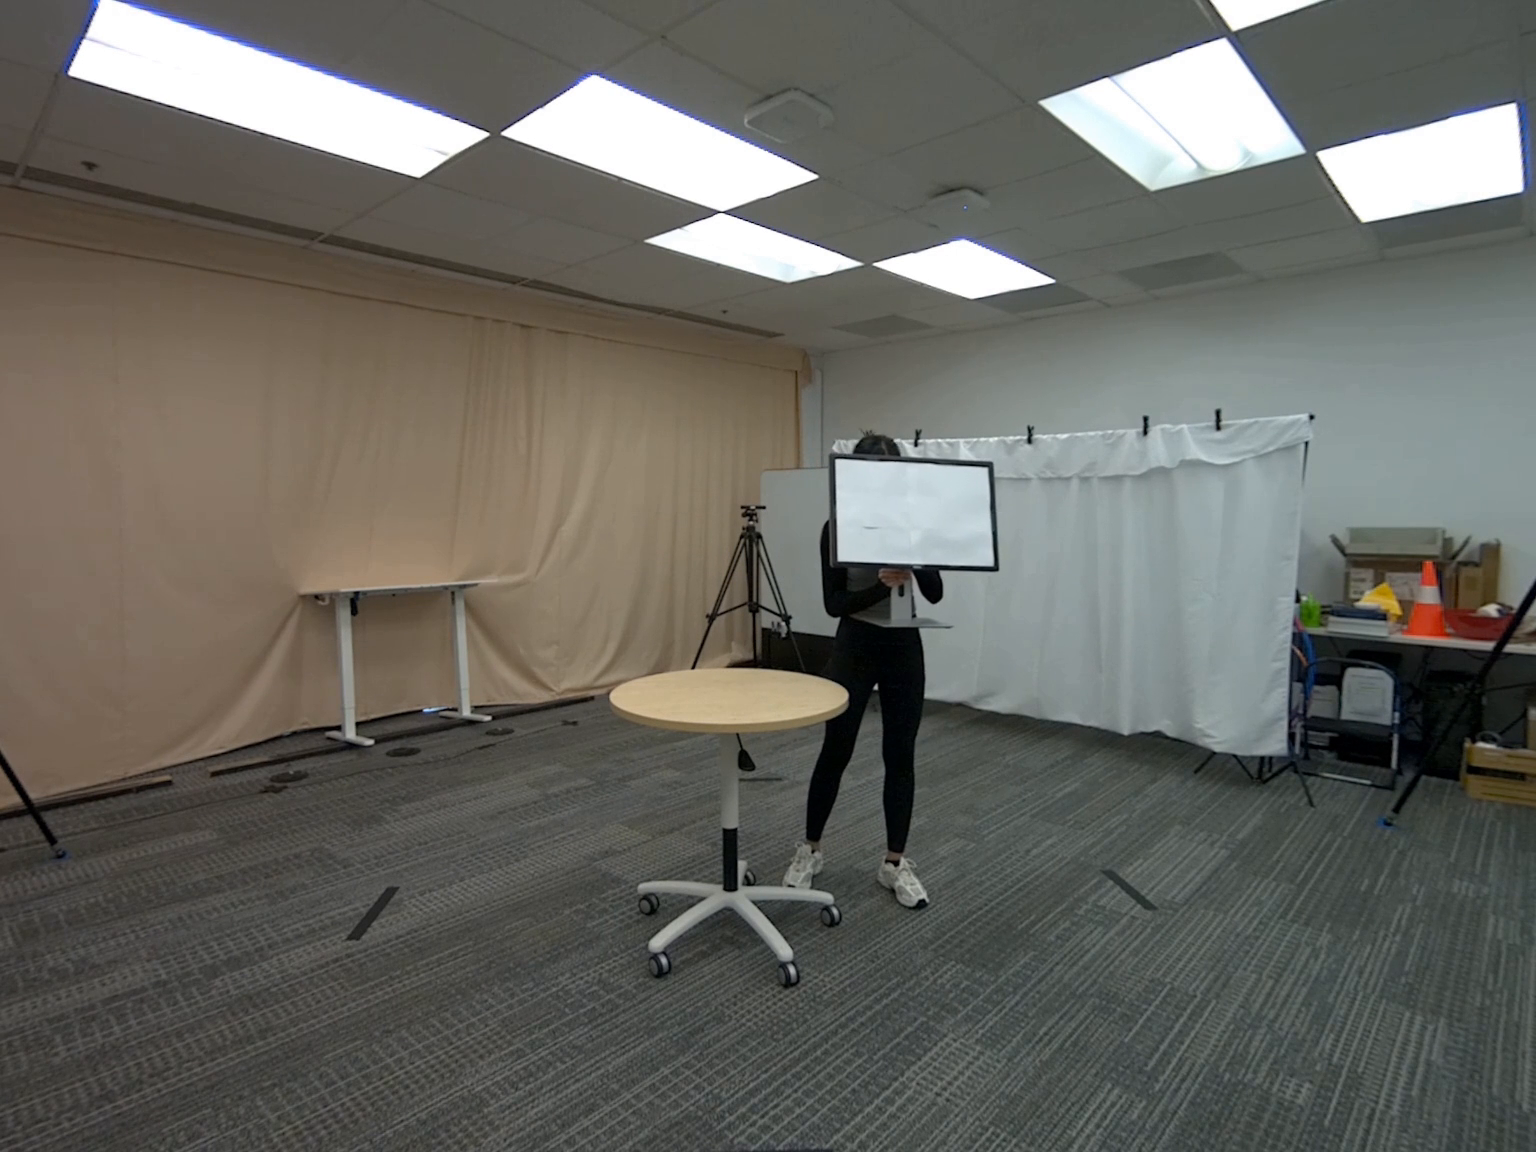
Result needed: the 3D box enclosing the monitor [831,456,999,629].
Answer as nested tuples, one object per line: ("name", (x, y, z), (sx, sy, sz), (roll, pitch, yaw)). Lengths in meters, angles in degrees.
("monitor", (0.451, -0.106, 2.720), (0.532, 0.522, 0.190), (1, 1, -13))
